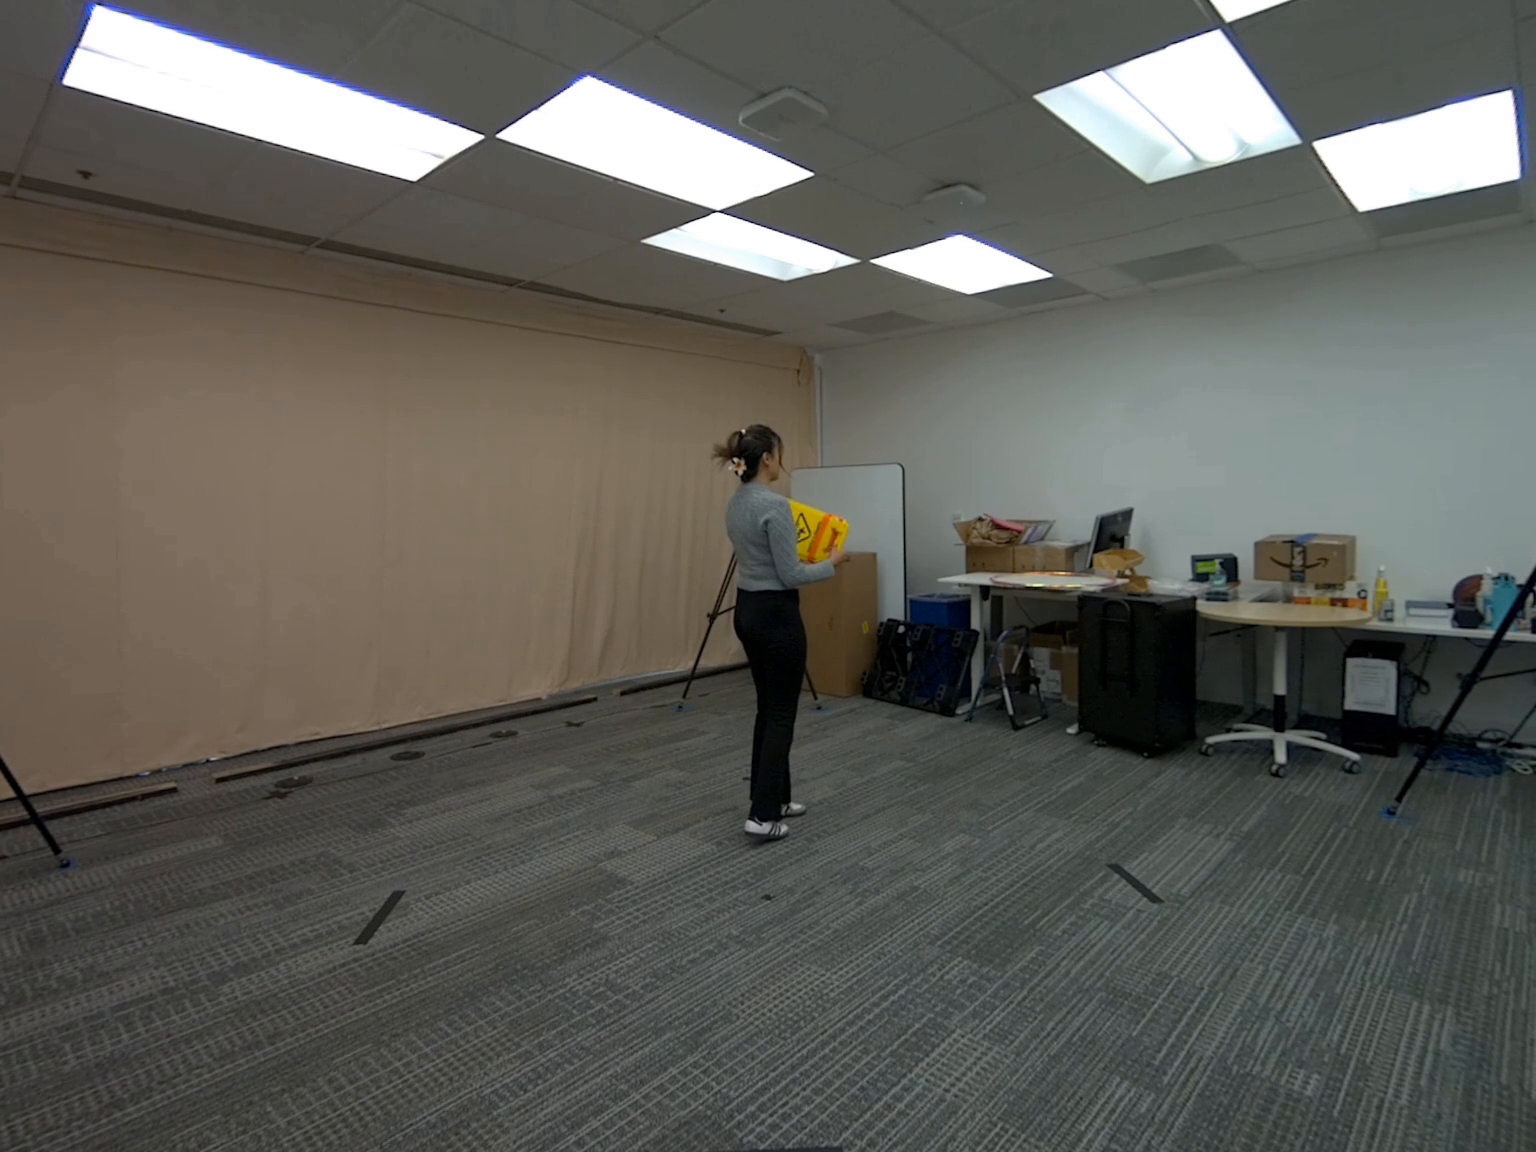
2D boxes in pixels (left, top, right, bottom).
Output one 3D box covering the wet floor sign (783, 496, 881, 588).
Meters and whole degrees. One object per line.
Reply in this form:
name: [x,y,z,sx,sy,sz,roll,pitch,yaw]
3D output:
wet floor sign: [0.214,-0.178,3.969,0.284,0.282,0.659,22,1,-18]
